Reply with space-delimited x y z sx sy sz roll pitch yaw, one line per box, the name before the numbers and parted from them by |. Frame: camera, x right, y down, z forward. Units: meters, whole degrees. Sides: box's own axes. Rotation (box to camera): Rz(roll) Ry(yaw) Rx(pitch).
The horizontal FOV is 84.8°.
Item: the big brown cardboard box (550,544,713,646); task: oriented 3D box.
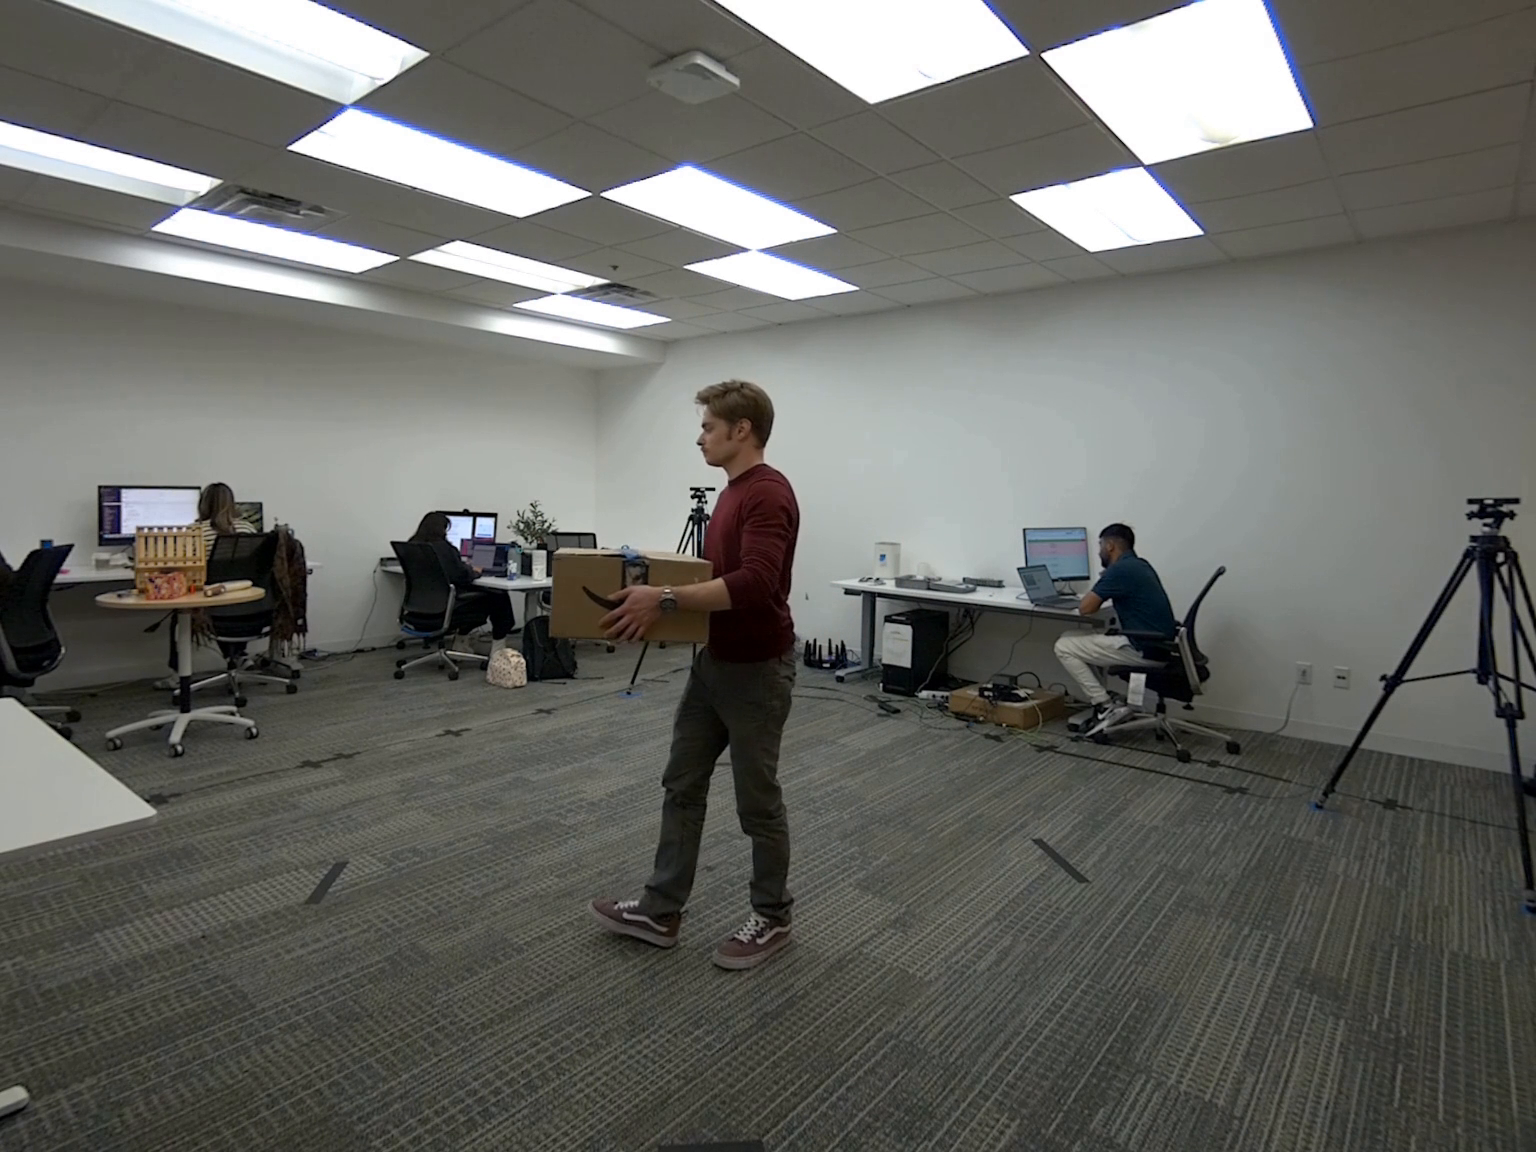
big brown cardboard box | -0.416 0.039 2.481 0.412 0.233 0.596 4 1 -12
